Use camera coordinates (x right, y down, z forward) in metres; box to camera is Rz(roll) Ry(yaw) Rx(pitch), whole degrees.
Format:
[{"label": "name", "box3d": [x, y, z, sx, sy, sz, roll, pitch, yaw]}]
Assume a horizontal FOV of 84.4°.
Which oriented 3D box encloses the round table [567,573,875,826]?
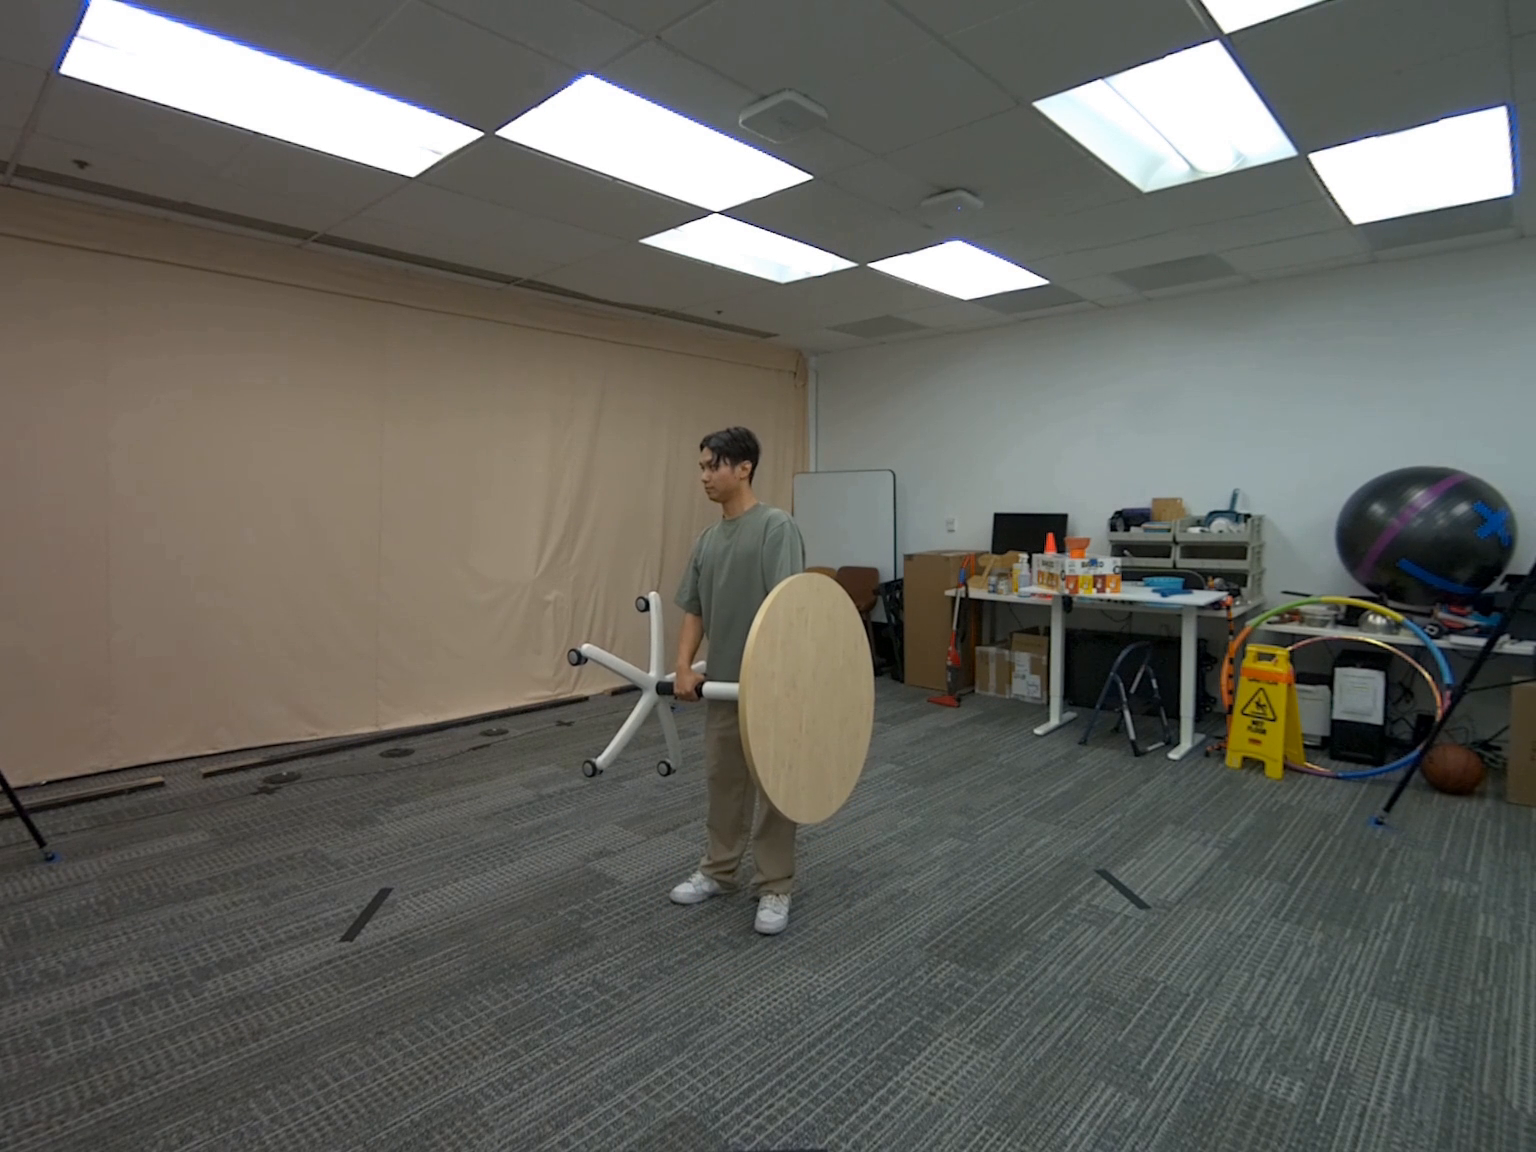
[{"label": "round table", "box3d": [-0.177, 0.397, 2.856, 0.809, 0.785, 0.762, -5, 0, 36]}]
